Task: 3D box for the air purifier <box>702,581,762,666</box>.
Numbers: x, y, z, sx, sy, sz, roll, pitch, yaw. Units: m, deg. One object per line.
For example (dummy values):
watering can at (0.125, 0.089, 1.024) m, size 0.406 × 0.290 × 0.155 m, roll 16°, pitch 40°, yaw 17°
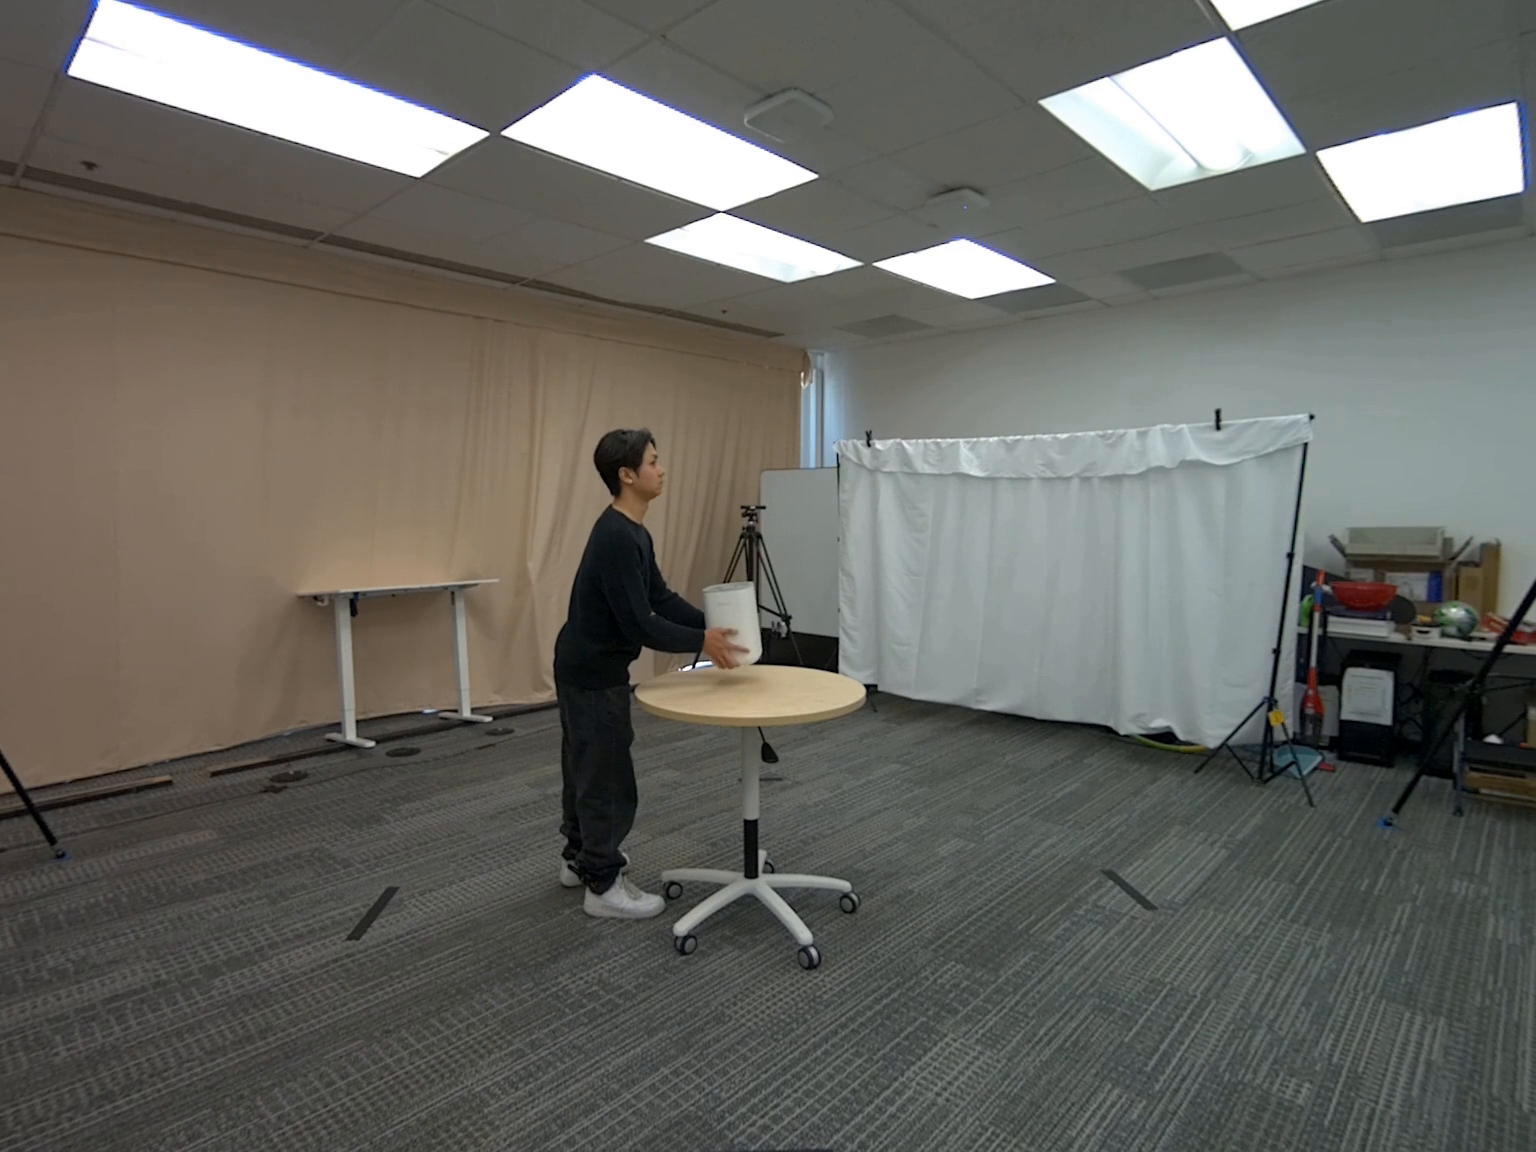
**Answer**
air purifier at (-0.120, 0.166, 2.878) m, size 0.173 × 0.264 × 0.170 m, roll -8°, pitch 4°, yaw 8°
